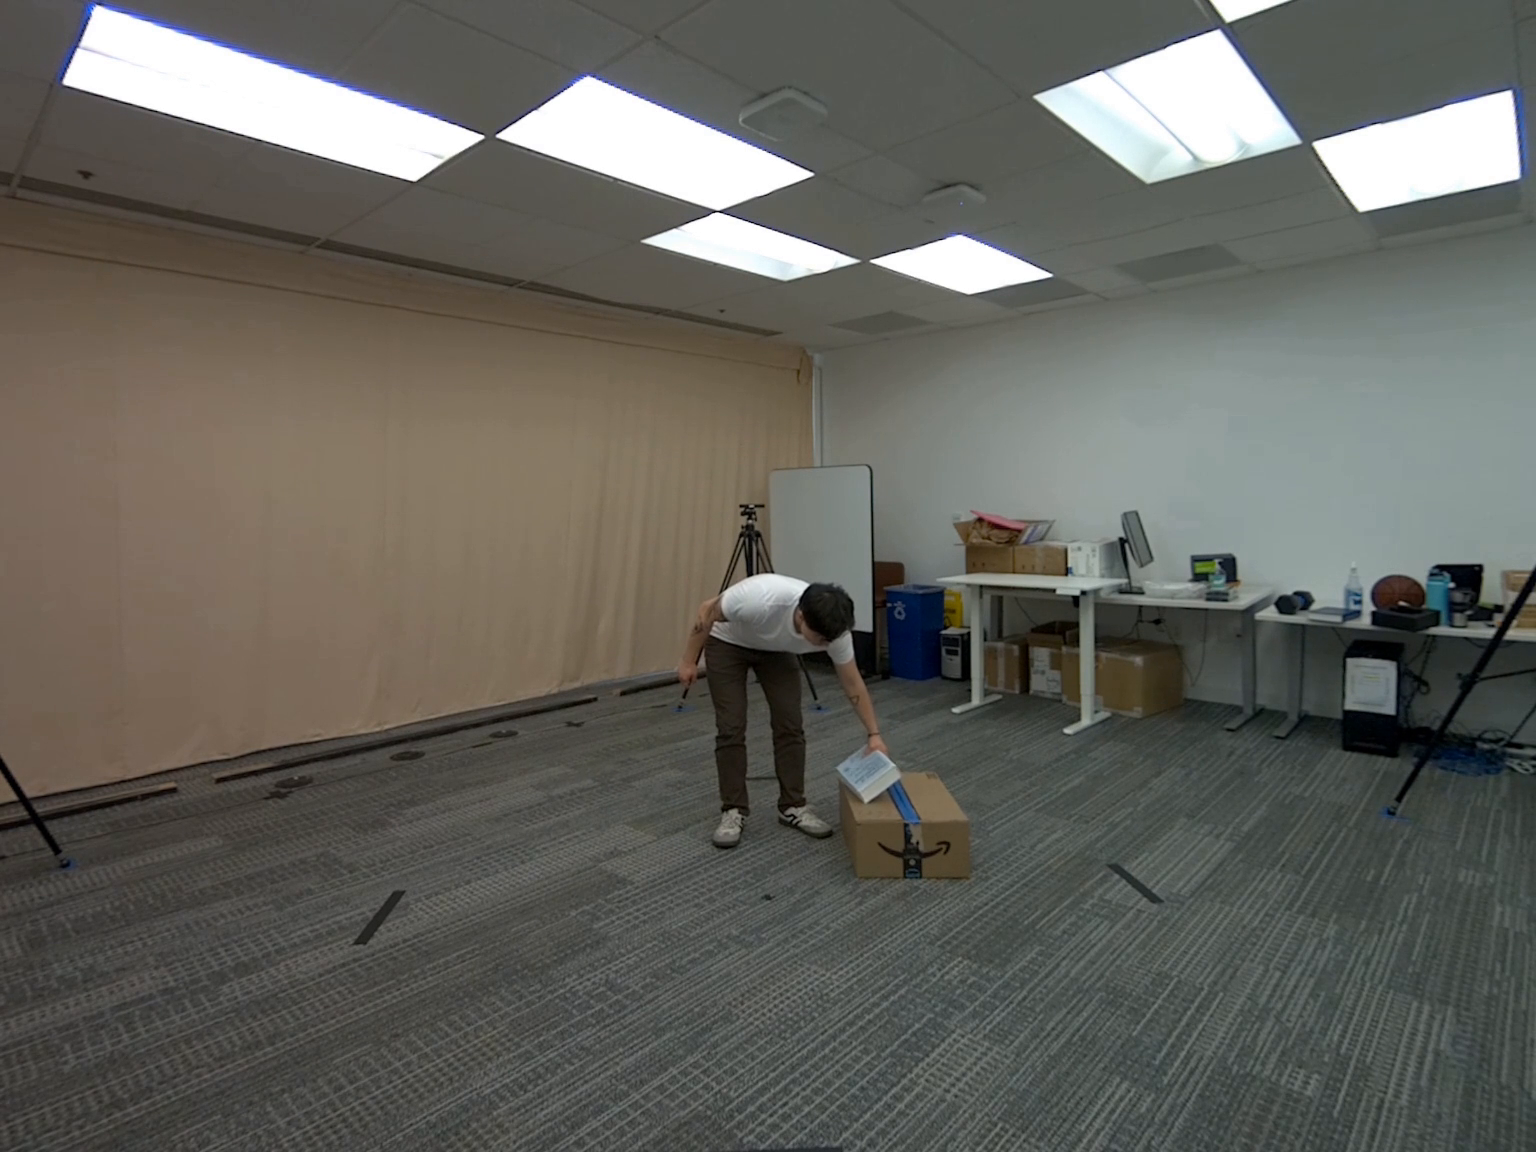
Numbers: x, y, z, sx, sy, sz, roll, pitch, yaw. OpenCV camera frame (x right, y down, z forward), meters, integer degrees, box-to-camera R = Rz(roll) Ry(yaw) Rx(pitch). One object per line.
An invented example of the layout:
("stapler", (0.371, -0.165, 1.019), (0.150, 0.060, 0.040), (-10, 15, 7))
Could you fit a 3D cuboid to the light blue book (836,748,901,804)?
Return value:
("light blue book", (0.413, 0.802, 3.436), (0.190, 0.058, 0.266), (-33, 15, -7))
